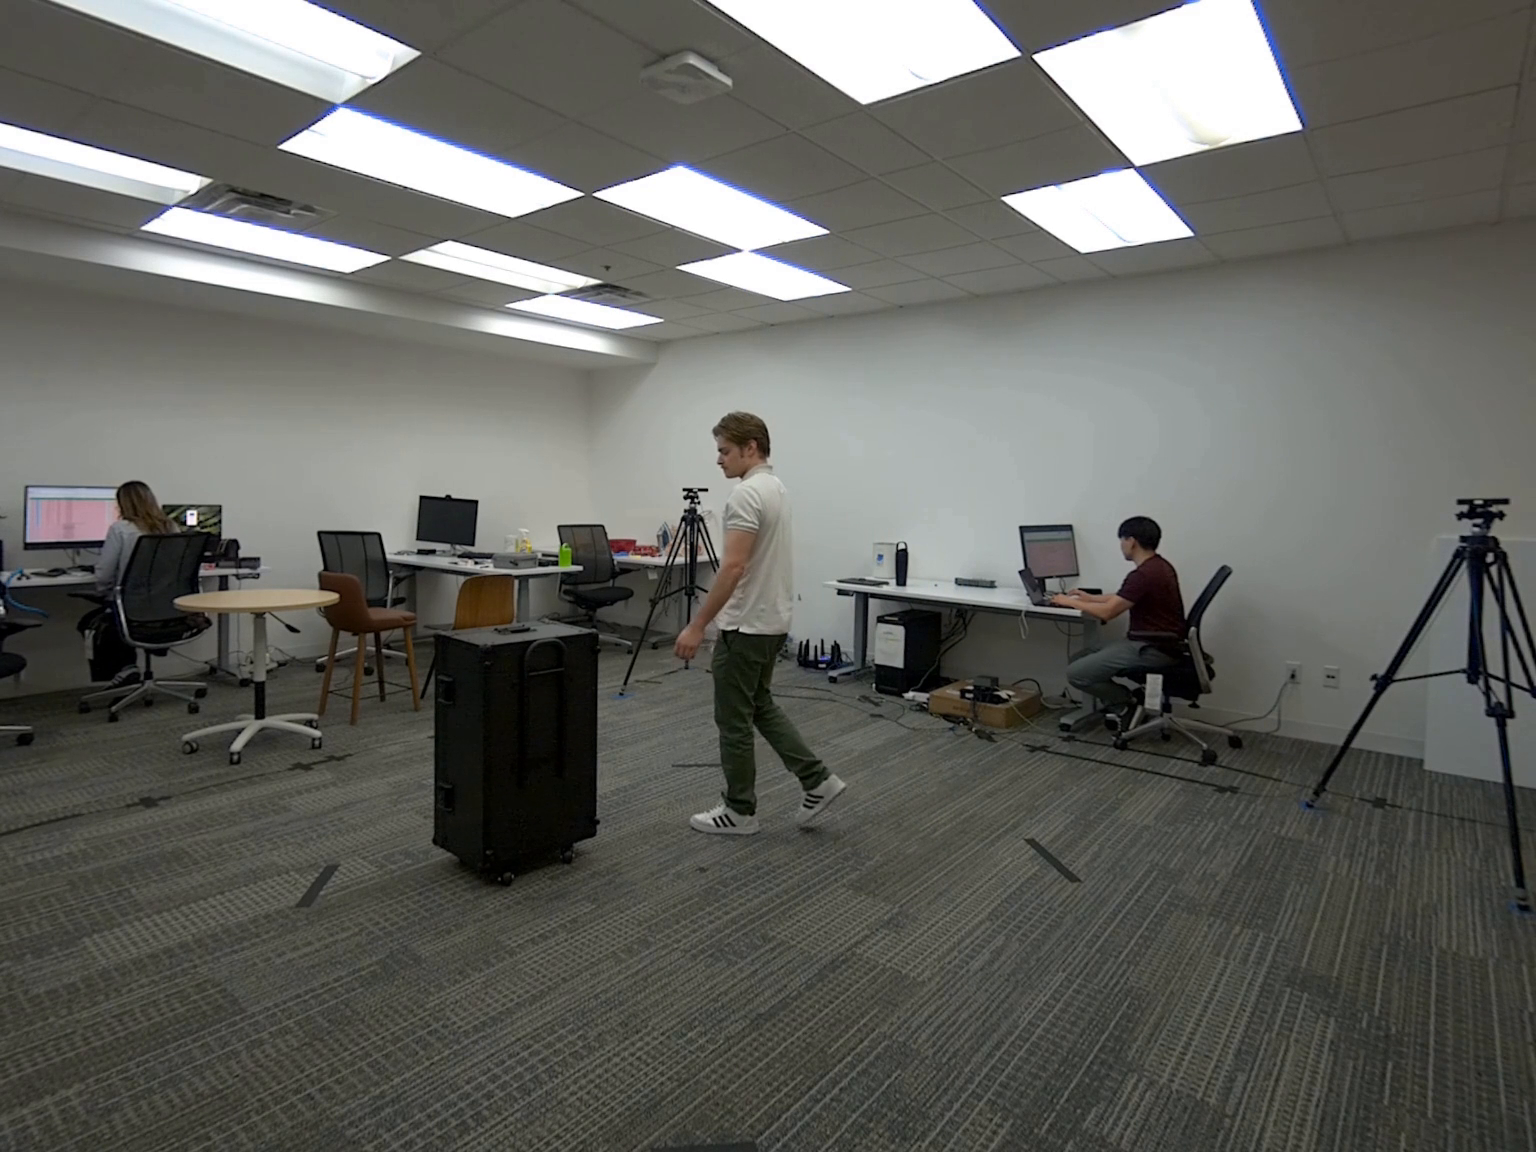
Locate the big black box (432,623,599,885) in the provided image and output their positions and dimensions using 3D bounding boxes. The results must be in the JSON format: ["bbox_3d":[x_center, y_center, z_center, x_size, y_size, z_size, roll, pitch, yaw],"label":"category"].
[{"bbox_3d":[-0.937,0.635,3.154,0.398,0.866,0.507,4,4,42],"label":"big black box"}]
